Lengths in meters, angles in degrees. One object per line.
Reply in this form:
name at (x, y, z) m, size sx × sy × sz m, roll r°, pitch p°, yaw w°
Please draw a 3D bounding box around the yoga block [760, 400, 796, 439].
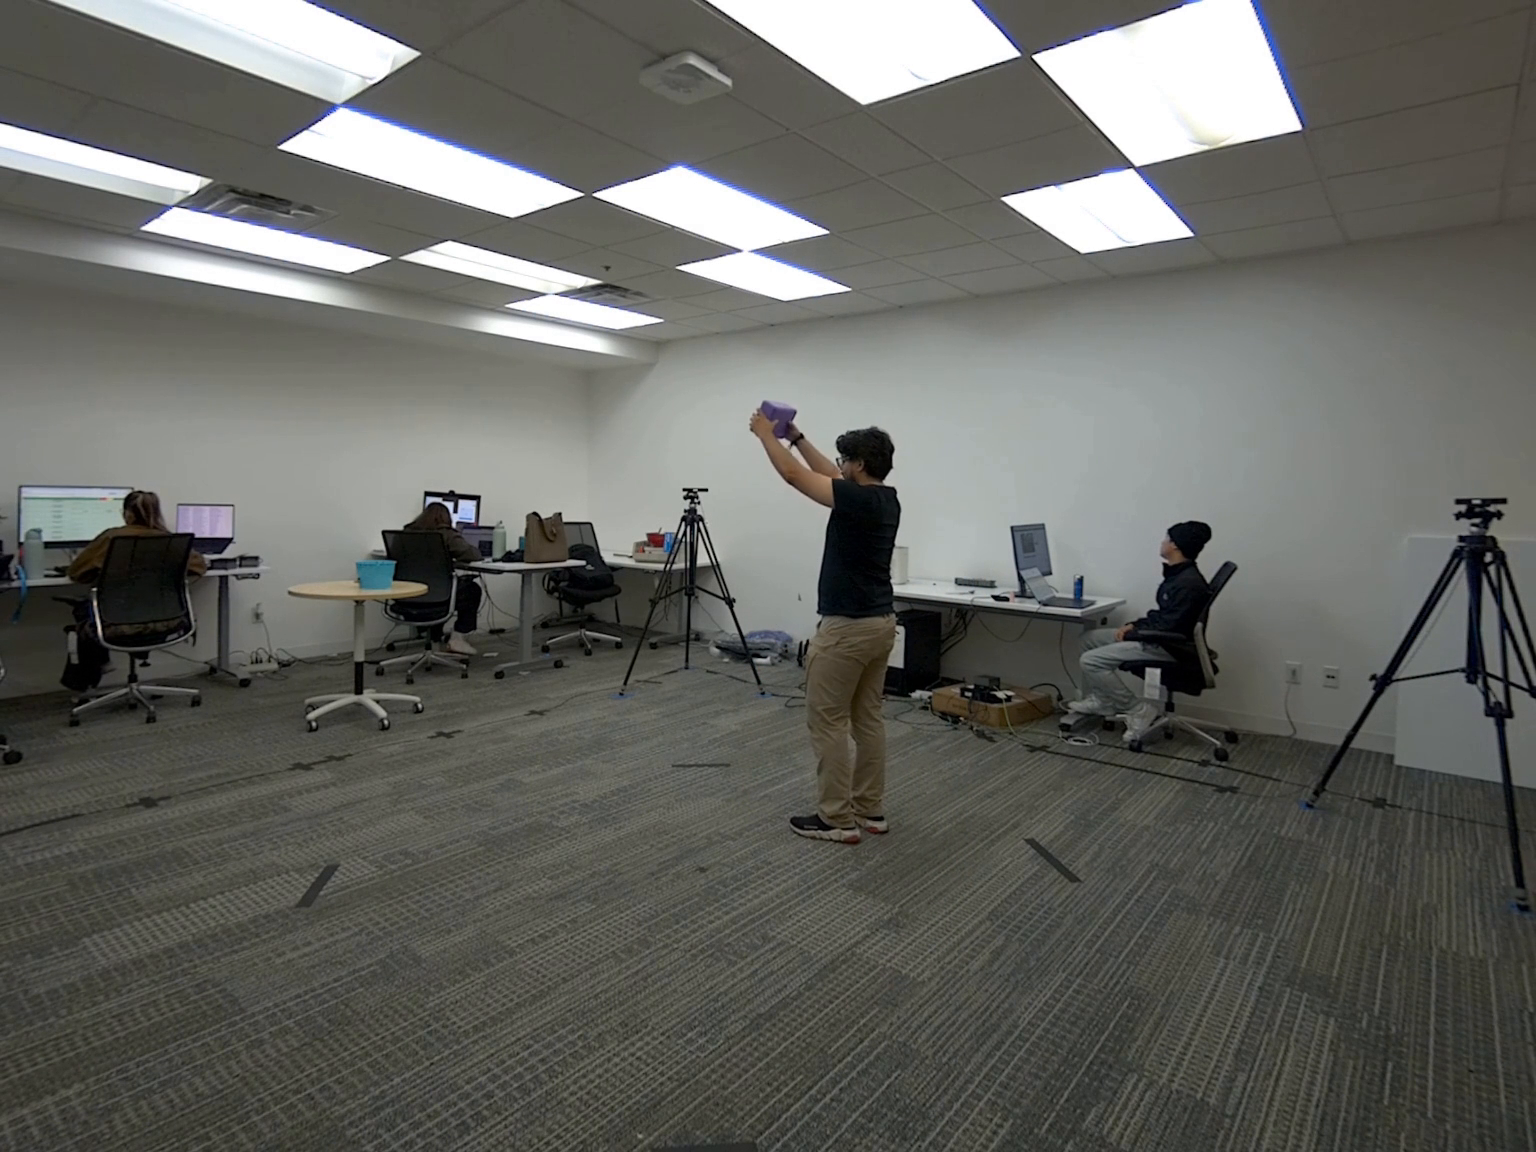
yoga block at (0.016, -0.679, 3.753) m, size 0.078 × 0.148 × 0.225 m, roll 29°, pitch 17°, yaw 17°
